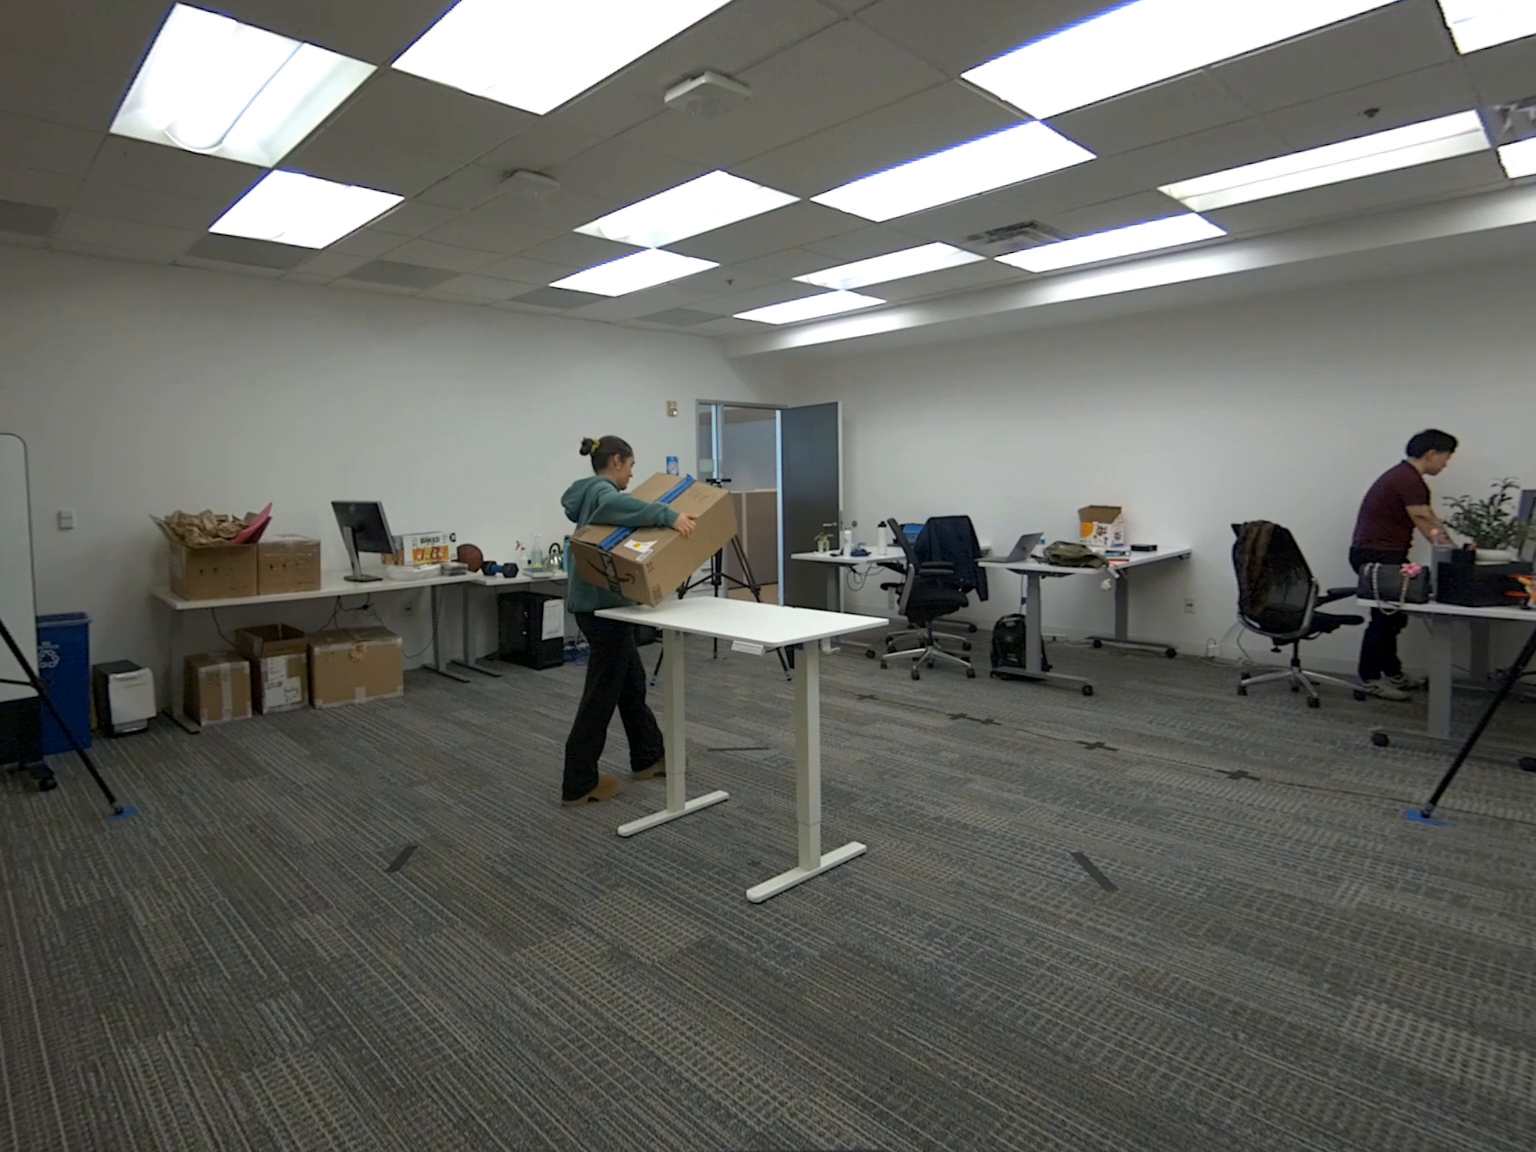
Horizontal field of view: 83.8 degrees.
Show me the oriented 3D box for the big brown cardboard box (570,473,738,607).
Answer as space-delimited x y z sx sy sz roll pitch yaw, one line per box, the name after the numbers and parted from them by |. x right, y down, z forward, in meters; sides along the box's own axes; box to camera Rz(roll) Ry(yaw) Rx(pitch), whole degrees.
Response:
-0.466 -0.167 3.550 0.431 0.226 0.587 16 42 33 | big brown cardboard box
